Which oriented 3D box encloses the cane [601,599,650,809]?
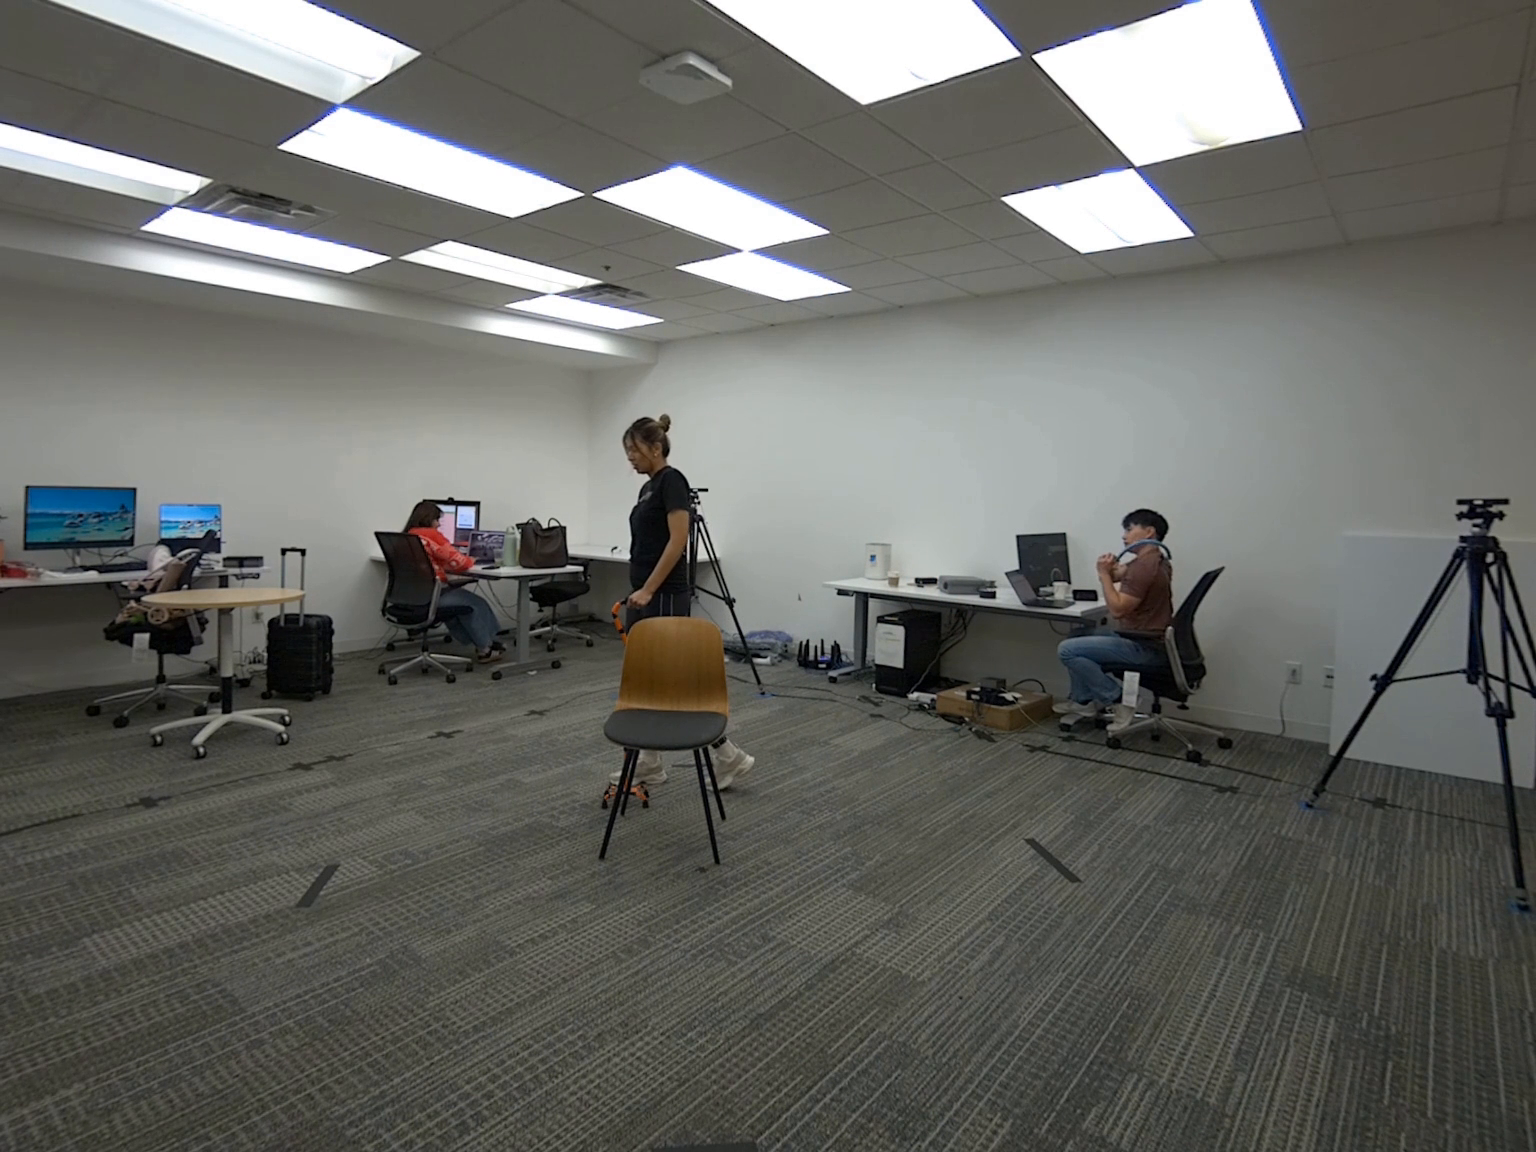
[{"bbox_3d":[-0.635,0.552,3.751,0.205,0.906,0.153,2,2,-8],"label":"cane"}]
